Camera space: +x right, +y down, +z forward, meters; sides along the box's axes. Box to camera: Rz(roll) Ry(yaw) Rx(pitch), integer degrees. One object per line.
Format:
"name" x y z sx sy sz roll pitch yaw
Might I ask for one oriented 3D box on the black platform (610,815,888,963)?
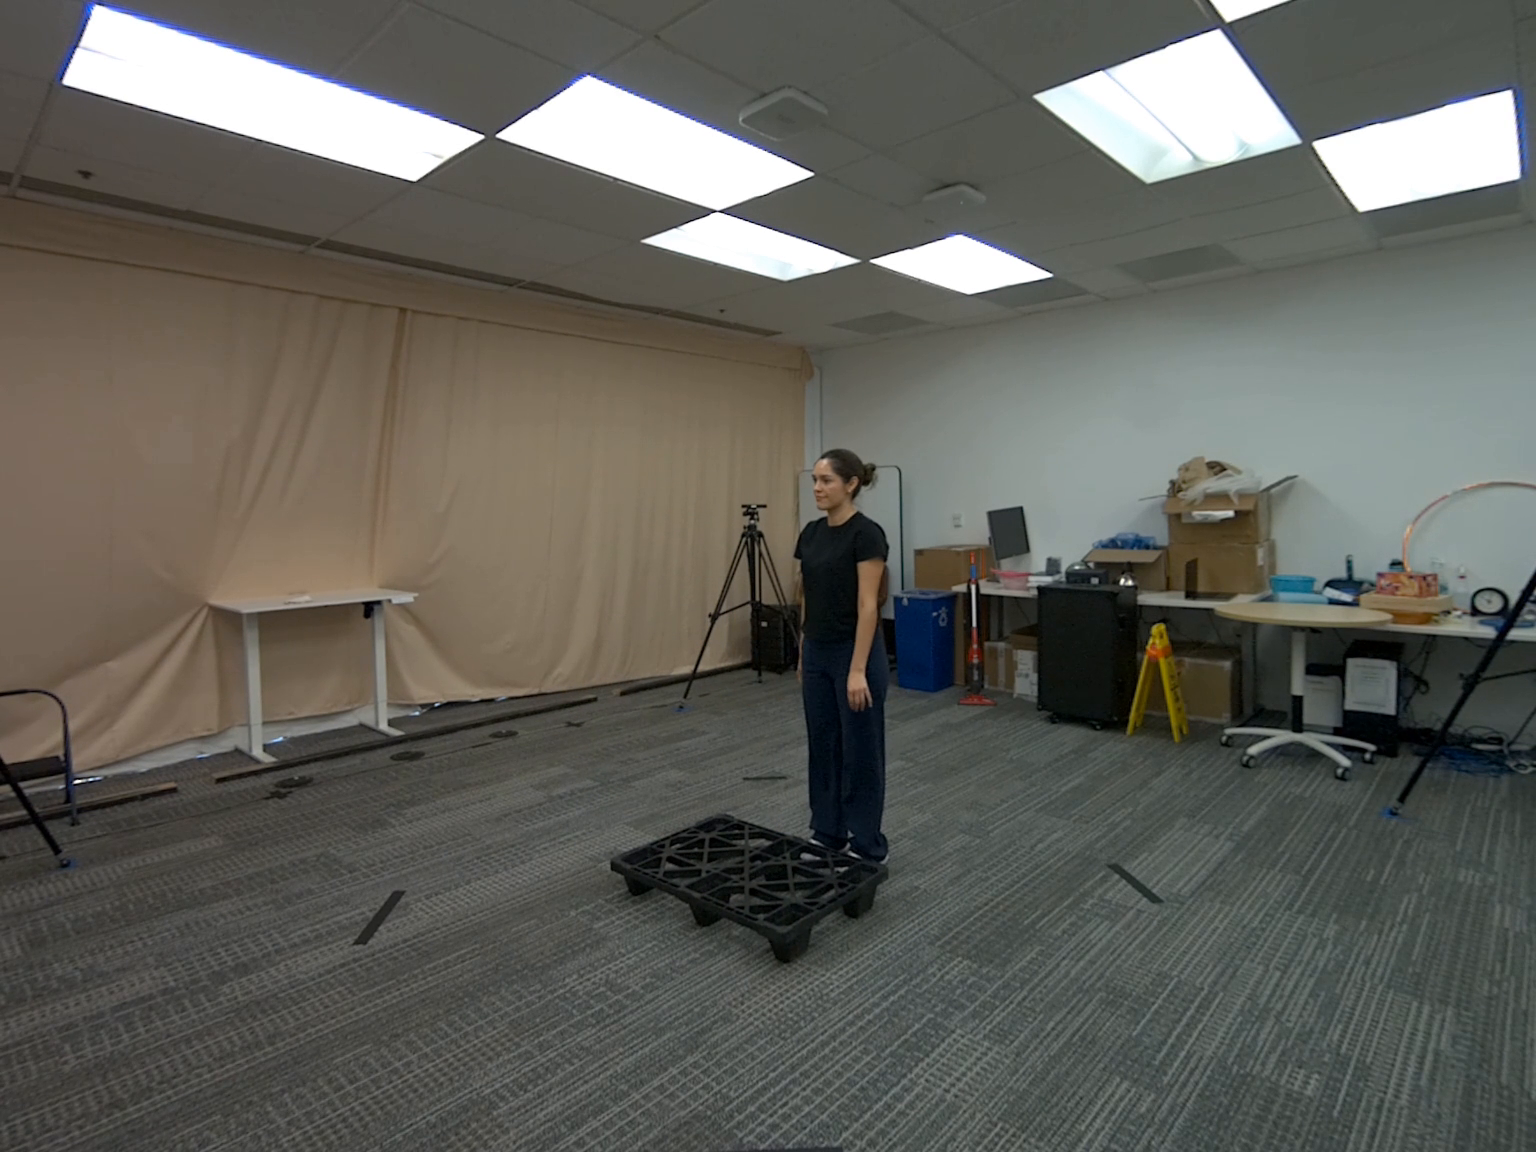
"black platform" -0.063 1.078 2.964 0.832 0.143 0.587 3 6 41
